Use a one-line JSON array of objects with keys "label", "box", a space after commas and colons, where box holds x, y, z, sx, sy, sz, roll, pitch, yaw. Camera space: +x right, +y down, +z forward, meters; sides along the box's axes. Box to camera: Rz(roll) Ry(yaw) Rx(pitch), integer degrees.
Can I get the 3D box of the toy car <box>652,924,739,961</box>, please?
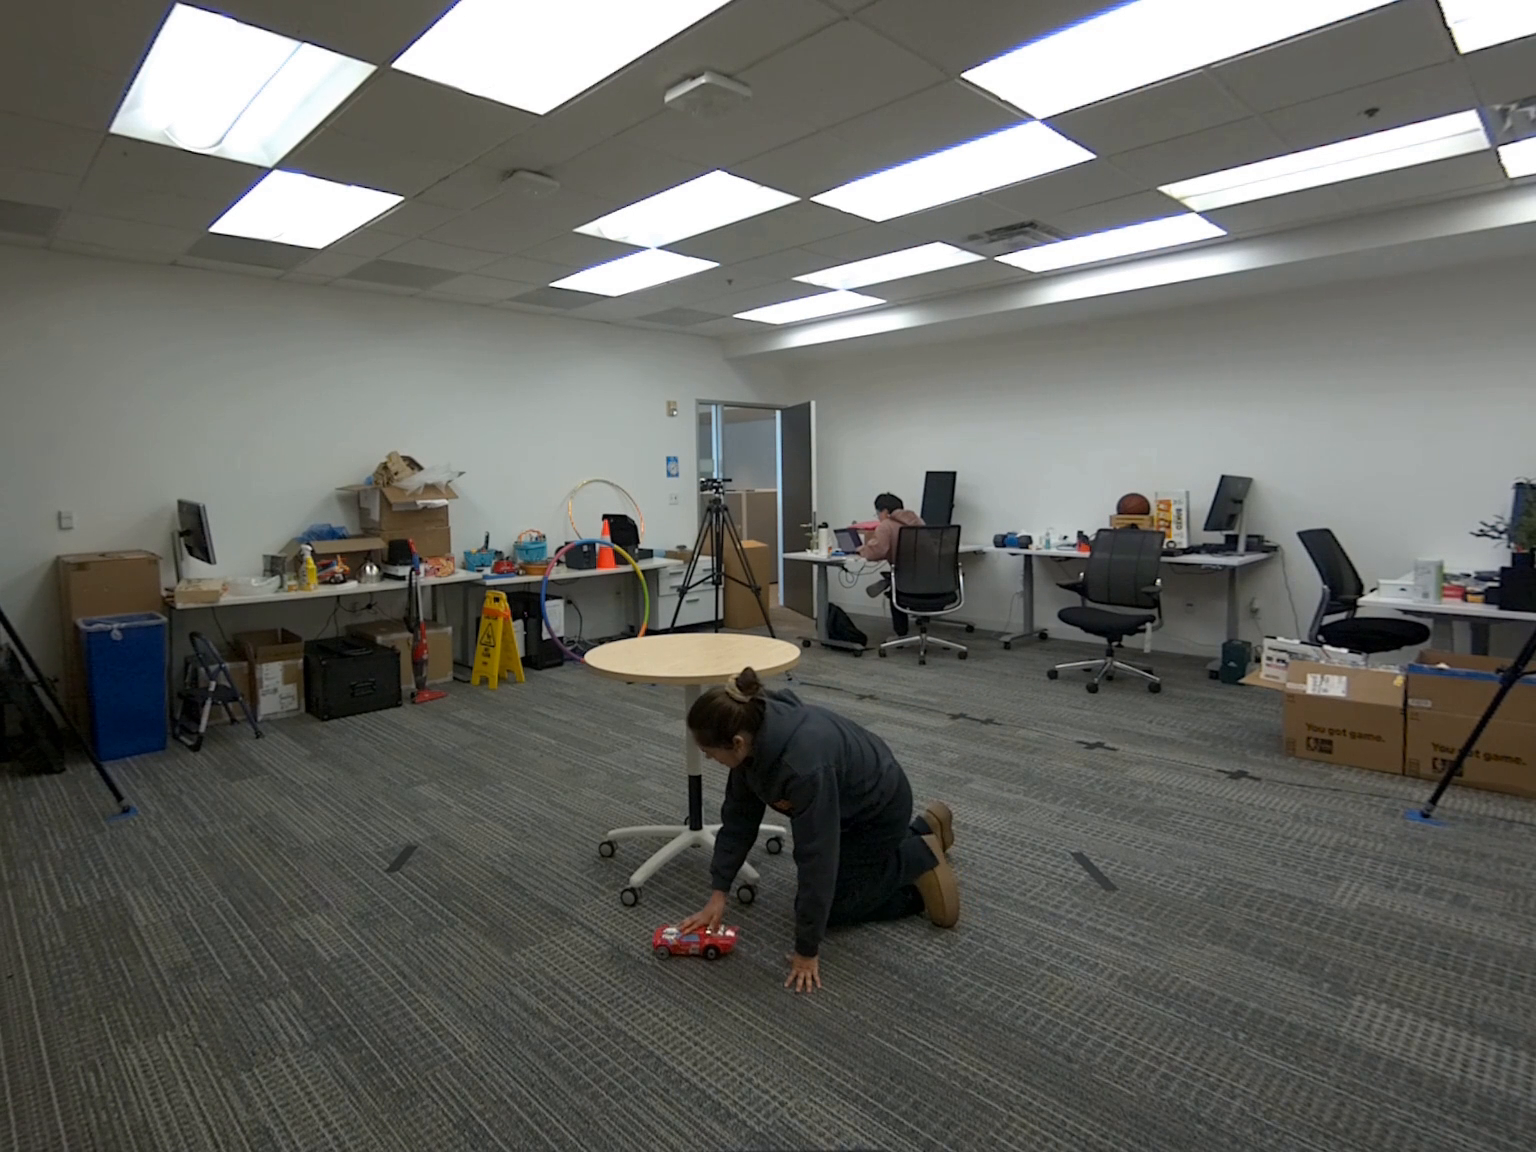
[{"label": "toy car", "box": [-0.207, 1.080, 2.532, 0.255, 0.083, 0.131, -14, 7, 4]}]
